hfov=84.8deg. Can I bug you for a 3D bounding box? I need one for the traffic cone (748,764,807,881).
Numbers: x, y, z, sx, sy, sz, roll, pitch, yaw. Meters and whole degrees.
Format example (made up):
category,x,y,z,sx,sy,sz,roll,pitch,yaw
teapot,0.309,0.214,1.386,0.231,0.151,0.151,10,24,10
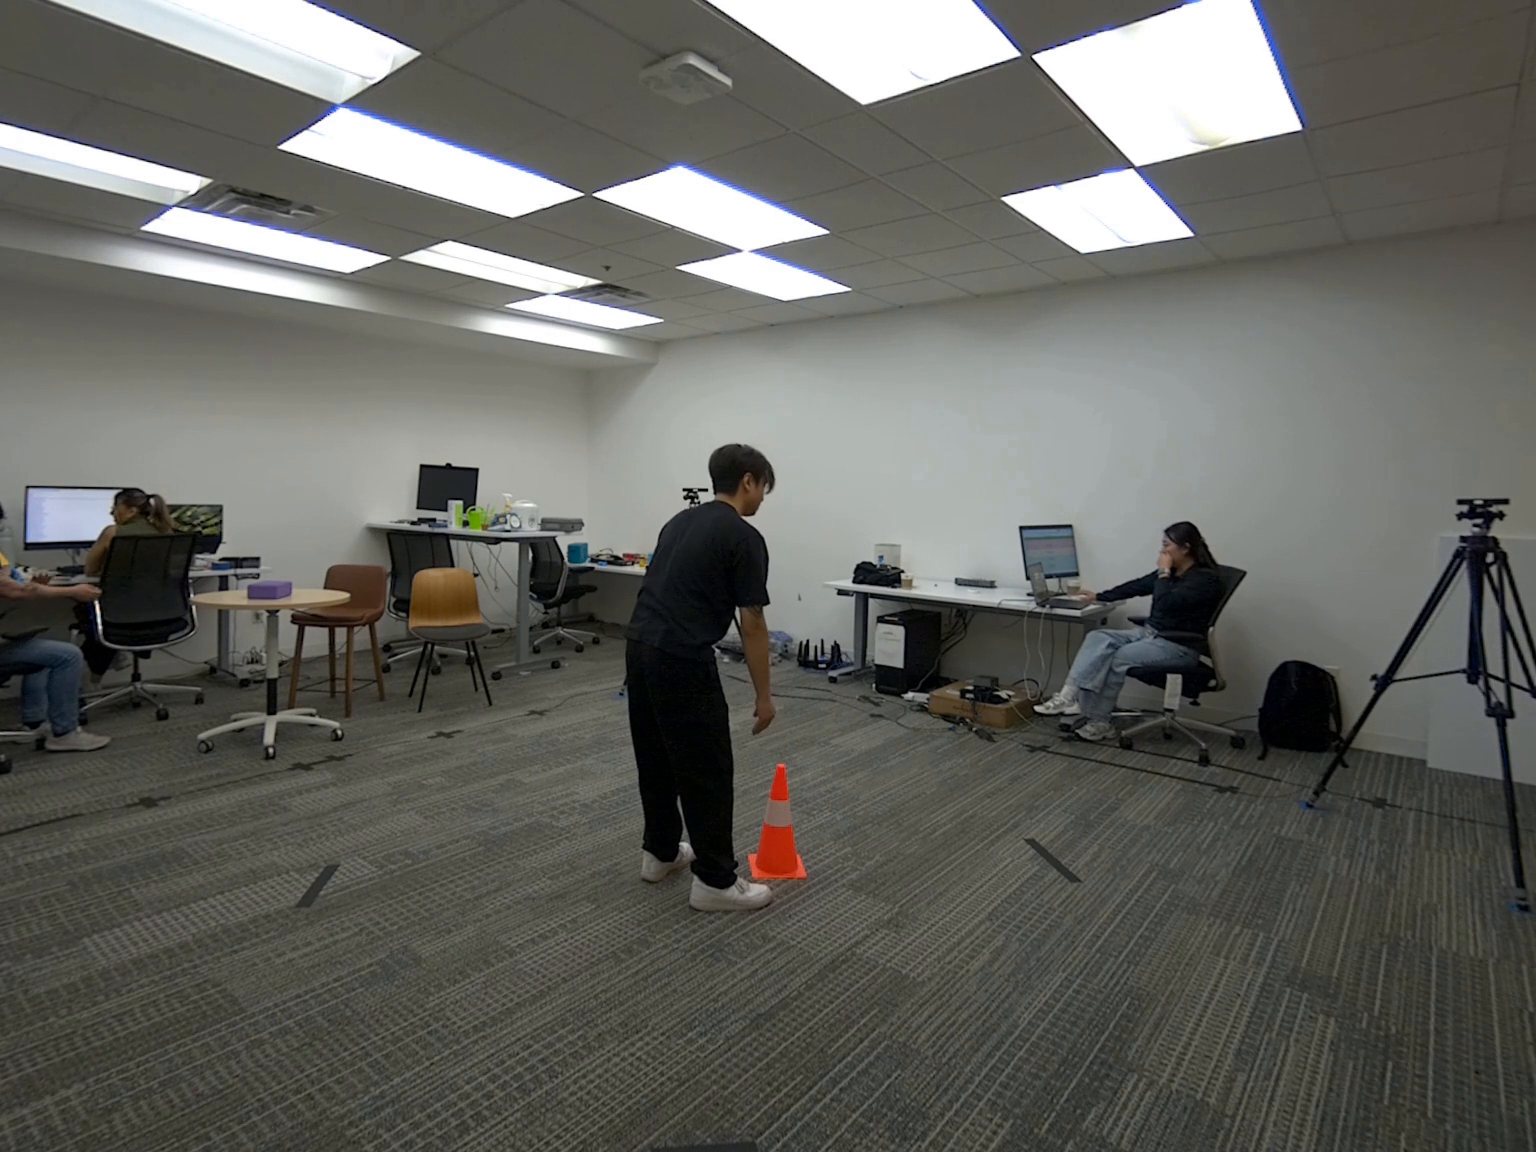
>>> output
category,x,y,z,sx,sy,sz,roll,pitch,yaw
traffic cone,0.030,0.886,3.151,0.203,0.383,0.206,3,1,-4
